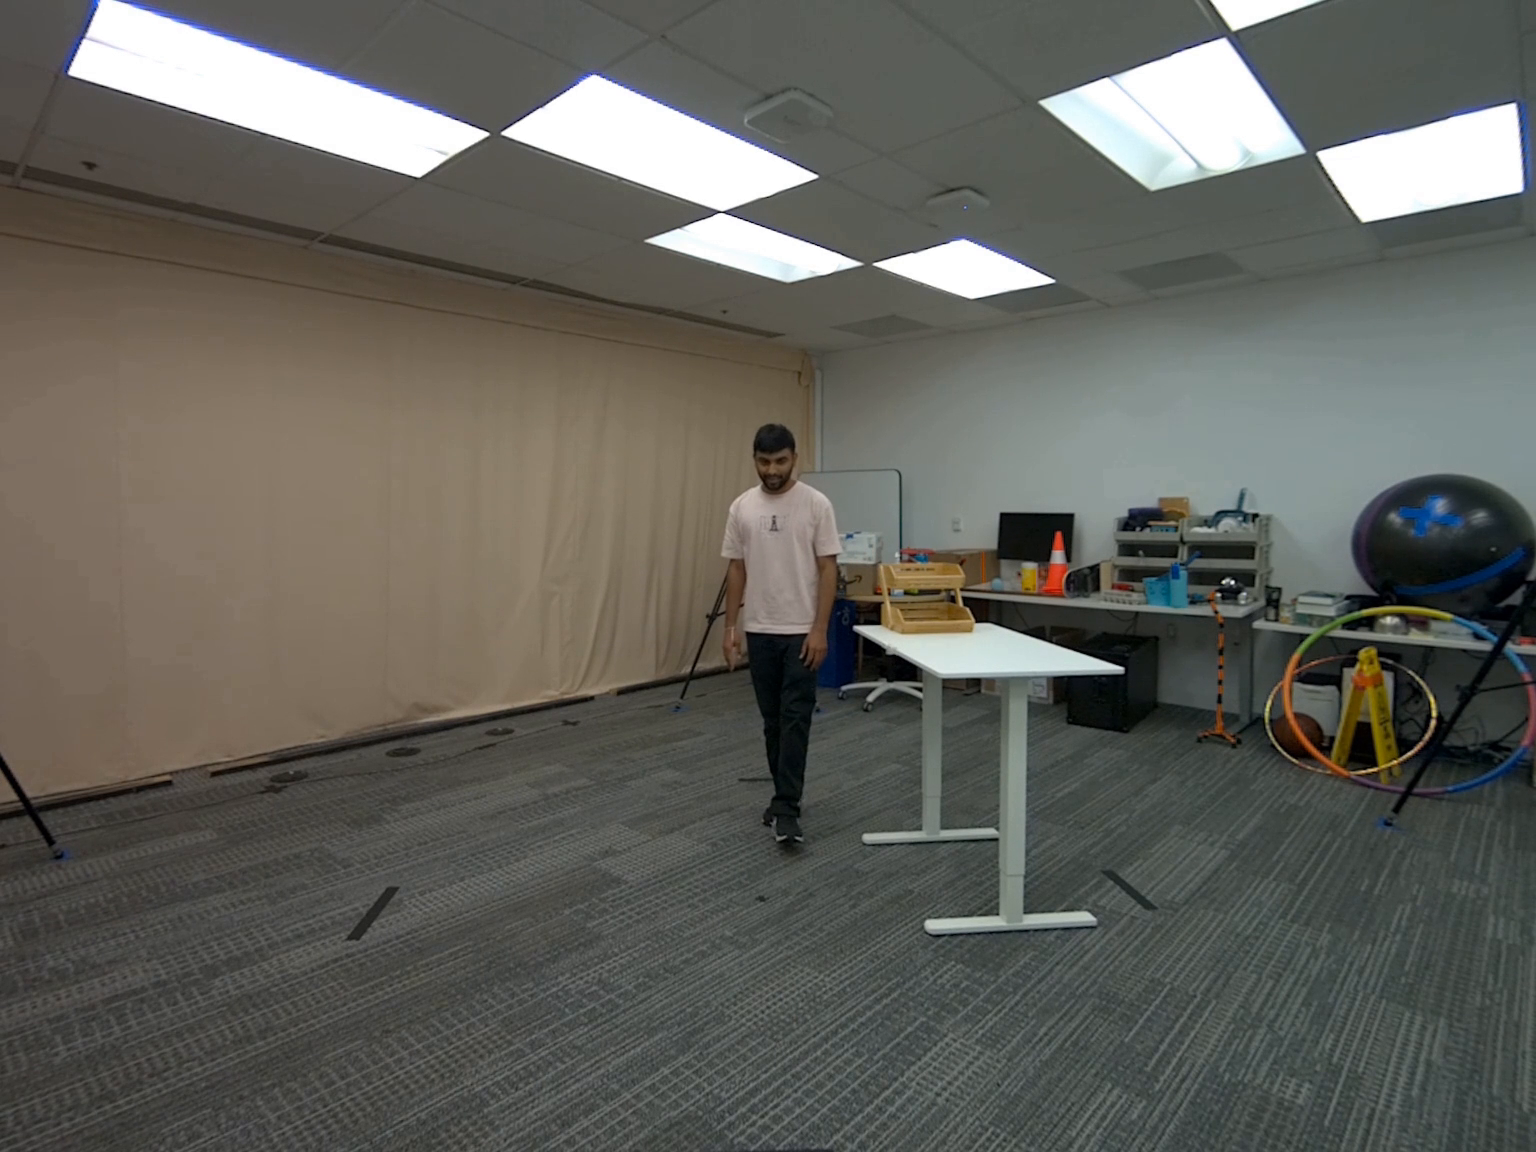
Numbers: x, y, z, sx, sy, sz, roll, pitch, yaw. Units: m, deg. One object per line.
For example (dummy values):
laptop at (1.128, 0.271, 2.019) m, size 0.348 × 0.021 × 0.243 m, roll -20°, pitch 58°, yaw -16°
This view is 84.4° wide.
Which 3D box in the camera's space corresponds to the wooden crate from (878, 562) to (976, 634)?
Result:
wooden crate at (0.656, 0.084, 3.470) m, size 0.321 × 0.273 × 0.305 m, roll 0°, pitch 2°, yaw -10°
